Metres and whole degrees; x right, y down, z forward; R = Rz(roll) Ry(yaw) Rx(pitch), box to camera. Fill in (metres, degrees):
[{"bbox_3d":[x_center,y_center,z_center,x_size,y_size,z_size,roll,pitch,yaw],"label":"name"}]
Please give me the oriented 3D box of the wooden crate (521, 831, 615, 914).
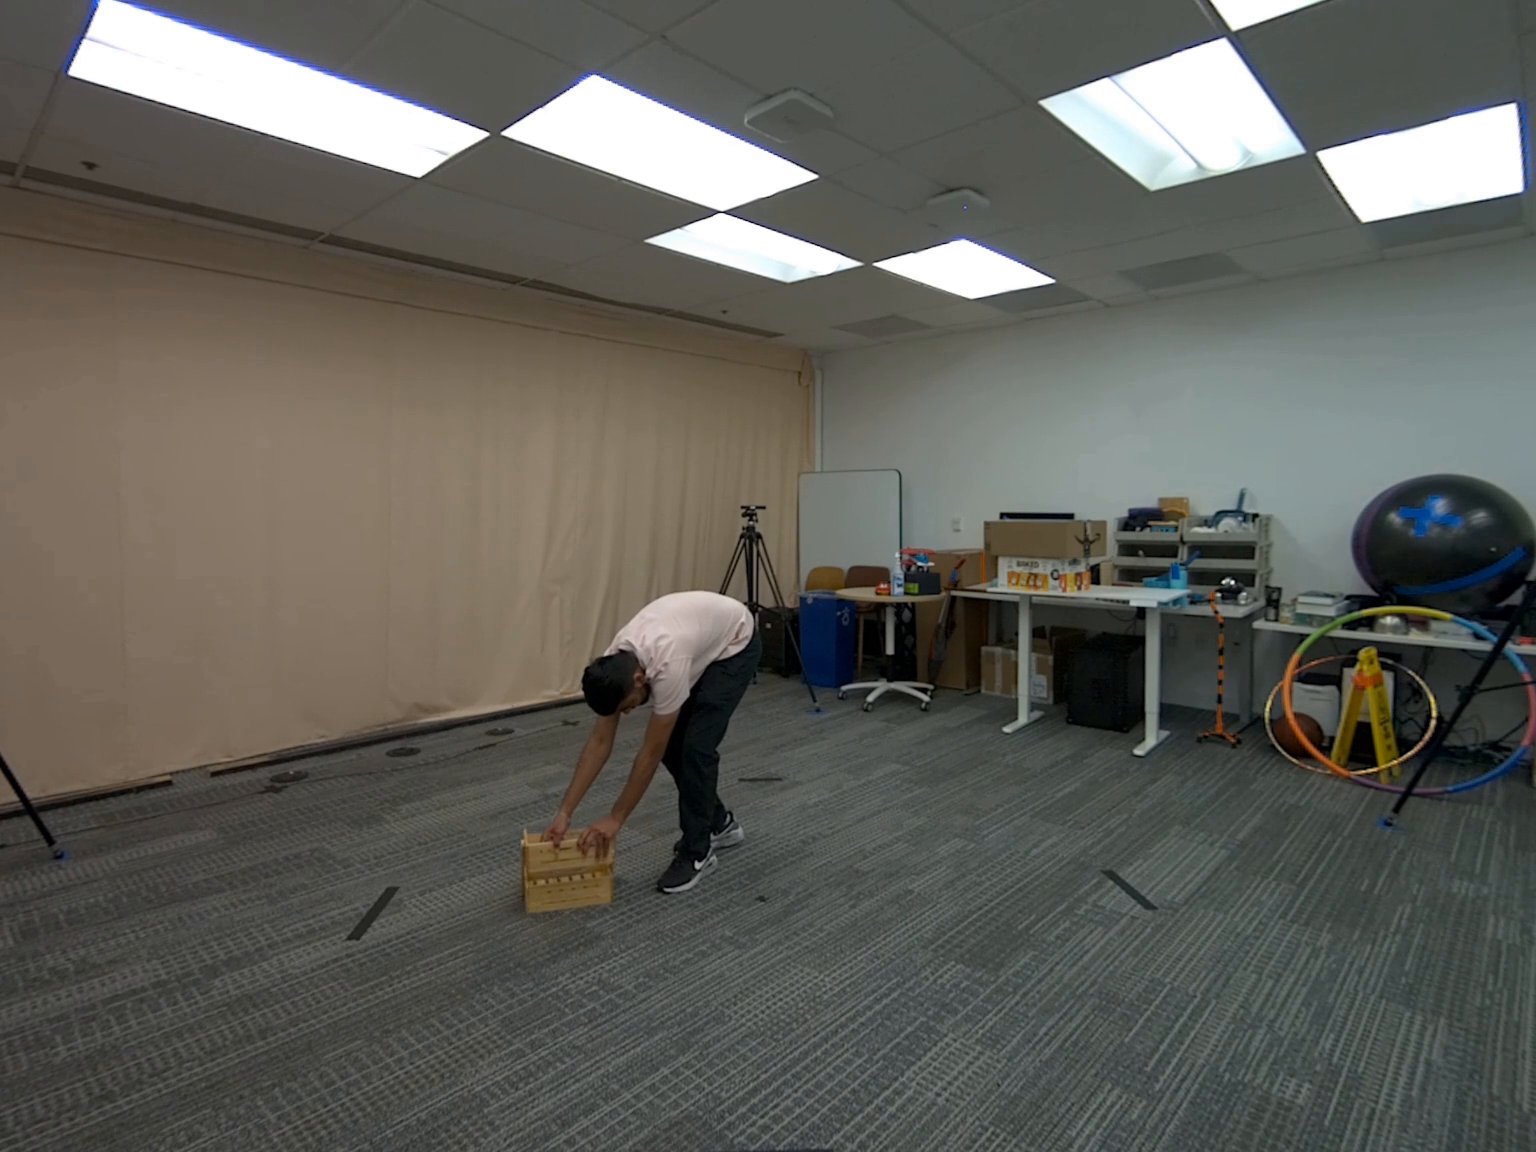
[{"bbox_3d":[-0.725,1.016,3.012,0.319,0.272,0.308,-1,5,-17],"label":"wooden crate"}]
